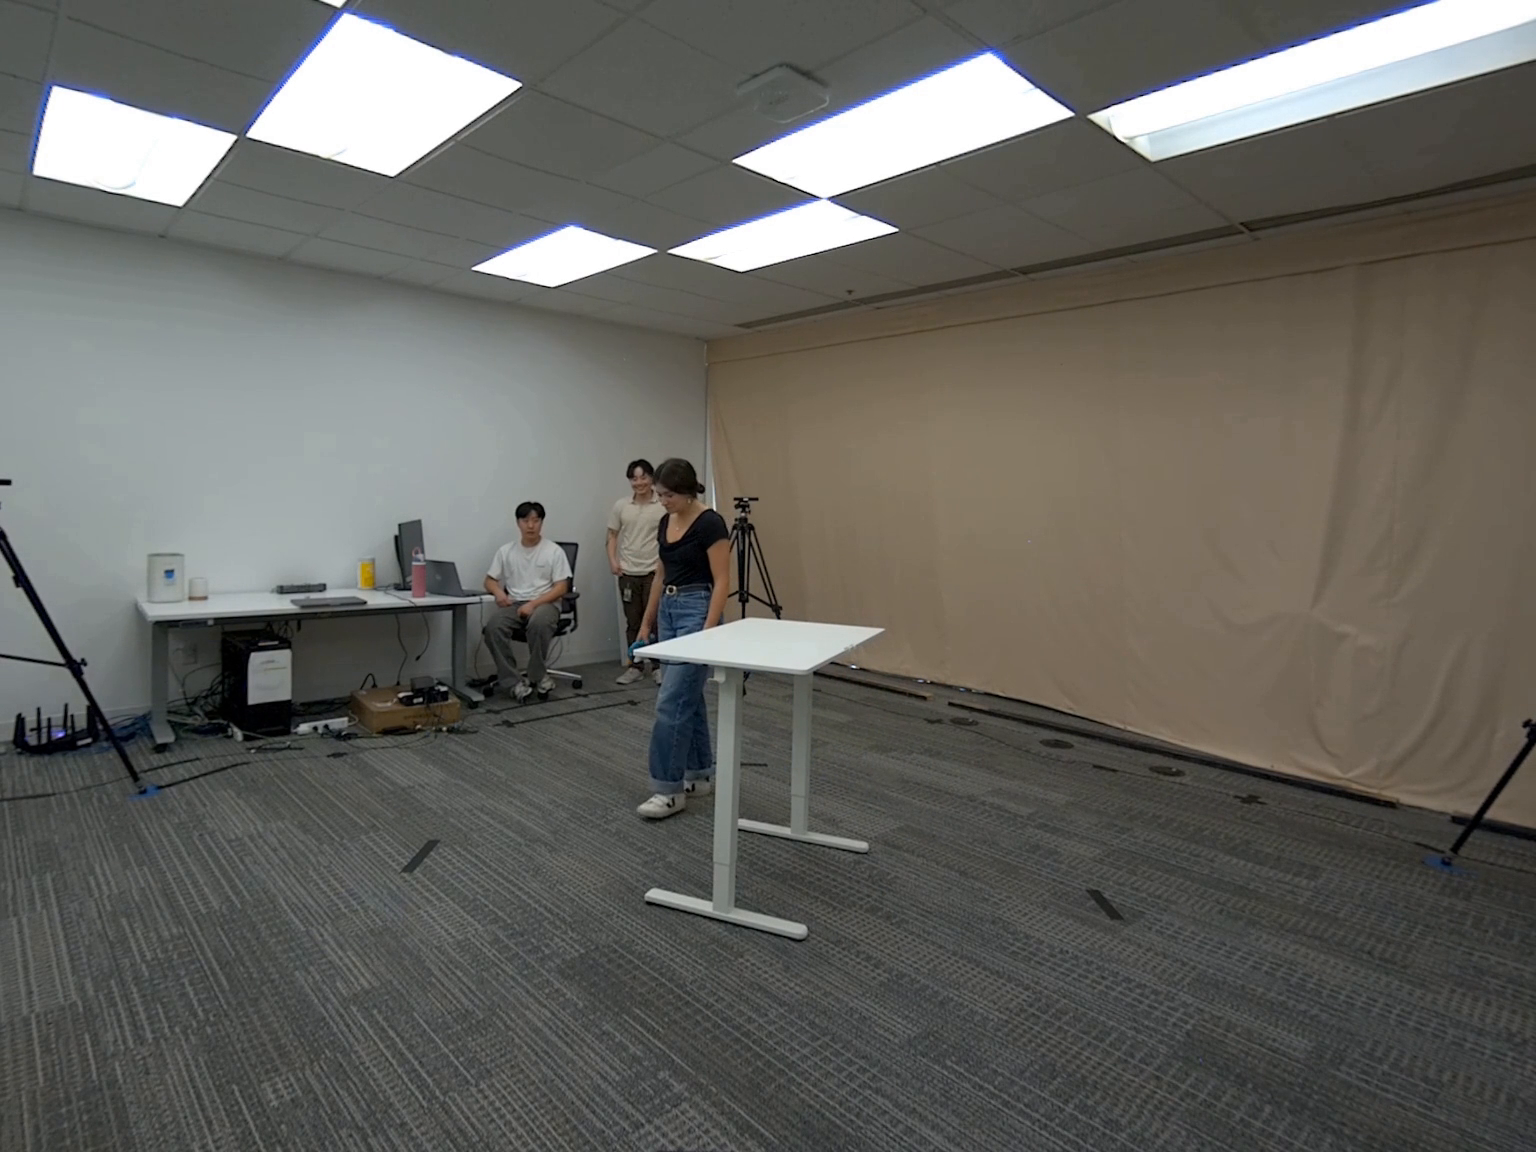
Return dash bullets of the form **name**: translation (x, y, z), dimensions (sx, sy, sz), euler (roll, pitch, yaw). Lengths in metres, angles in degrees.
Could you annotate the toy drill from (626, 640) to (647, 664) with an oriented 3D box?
- **toy drill**: translation (-0.607, 0.356, 3.974), dimensions (0.062, 0.168, 0.144), euler (42, 40, 20)
